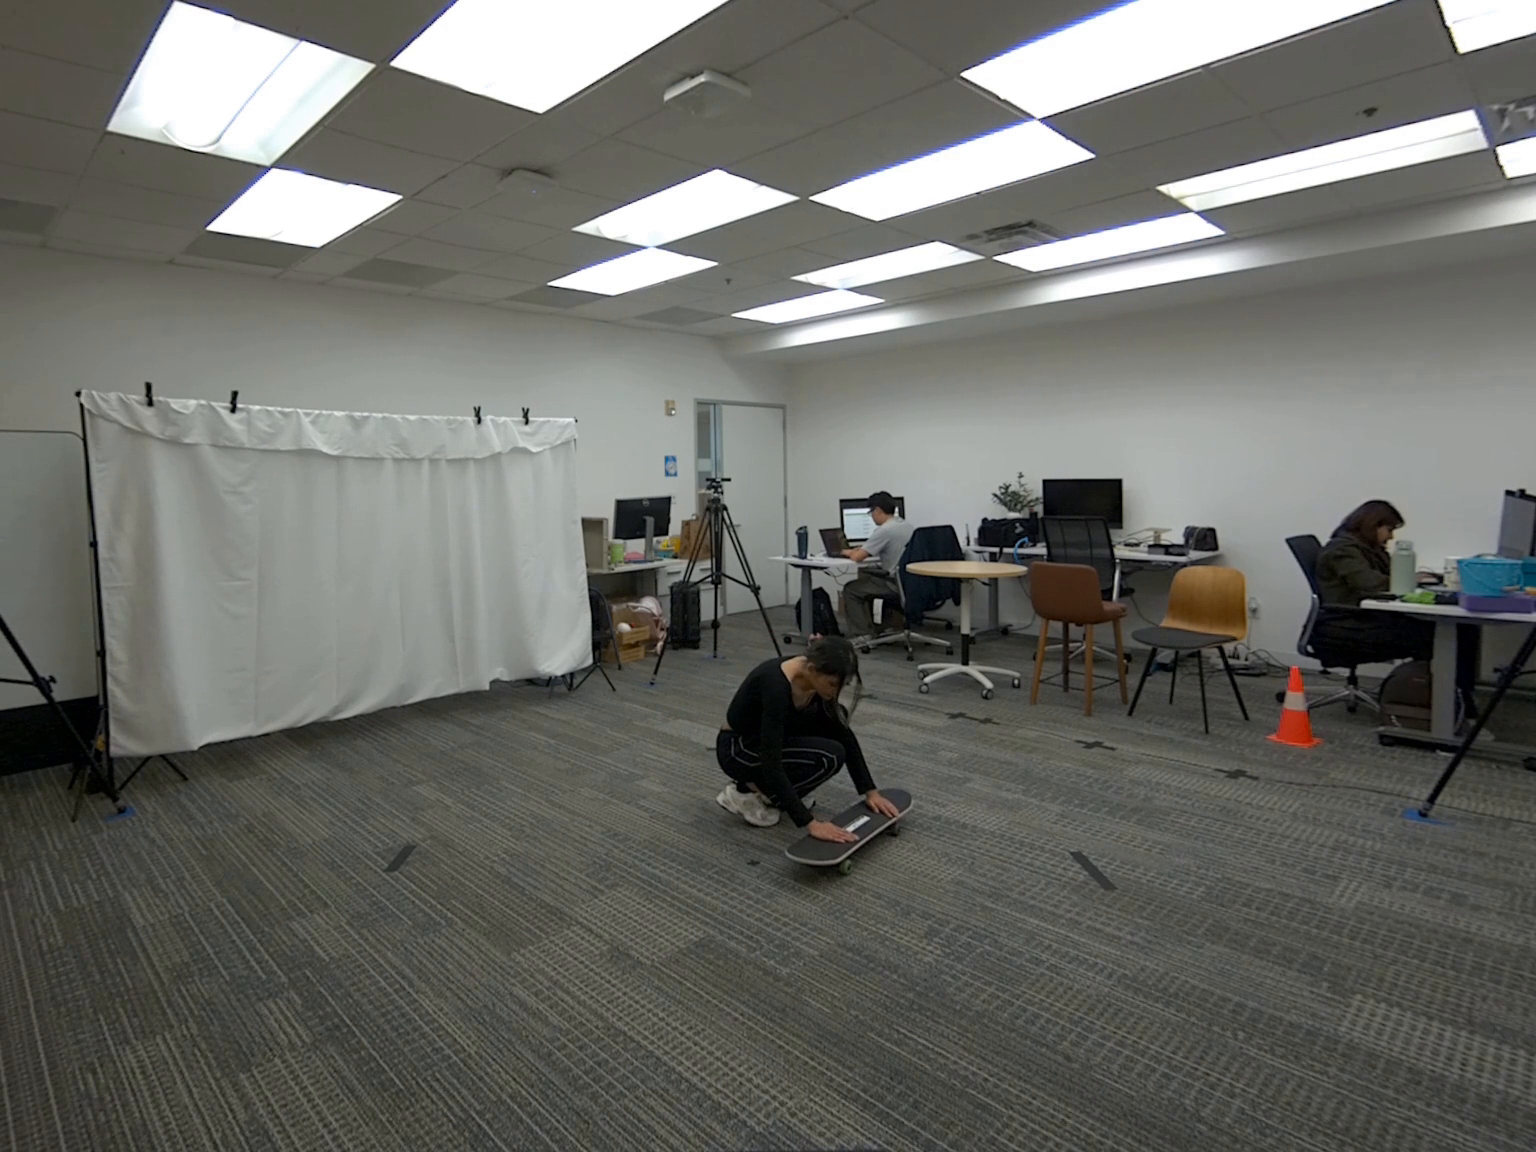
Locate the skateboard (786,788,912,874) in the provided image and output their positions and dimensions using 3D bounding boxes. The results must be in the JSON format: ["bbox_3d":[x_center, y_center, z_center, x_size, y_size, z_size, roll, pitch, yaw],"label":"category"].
[{"bbox_3d":[0.324,0.968,3.208,0.199,0.110,0.767,3,8,34],"label":"skateboard"}]
